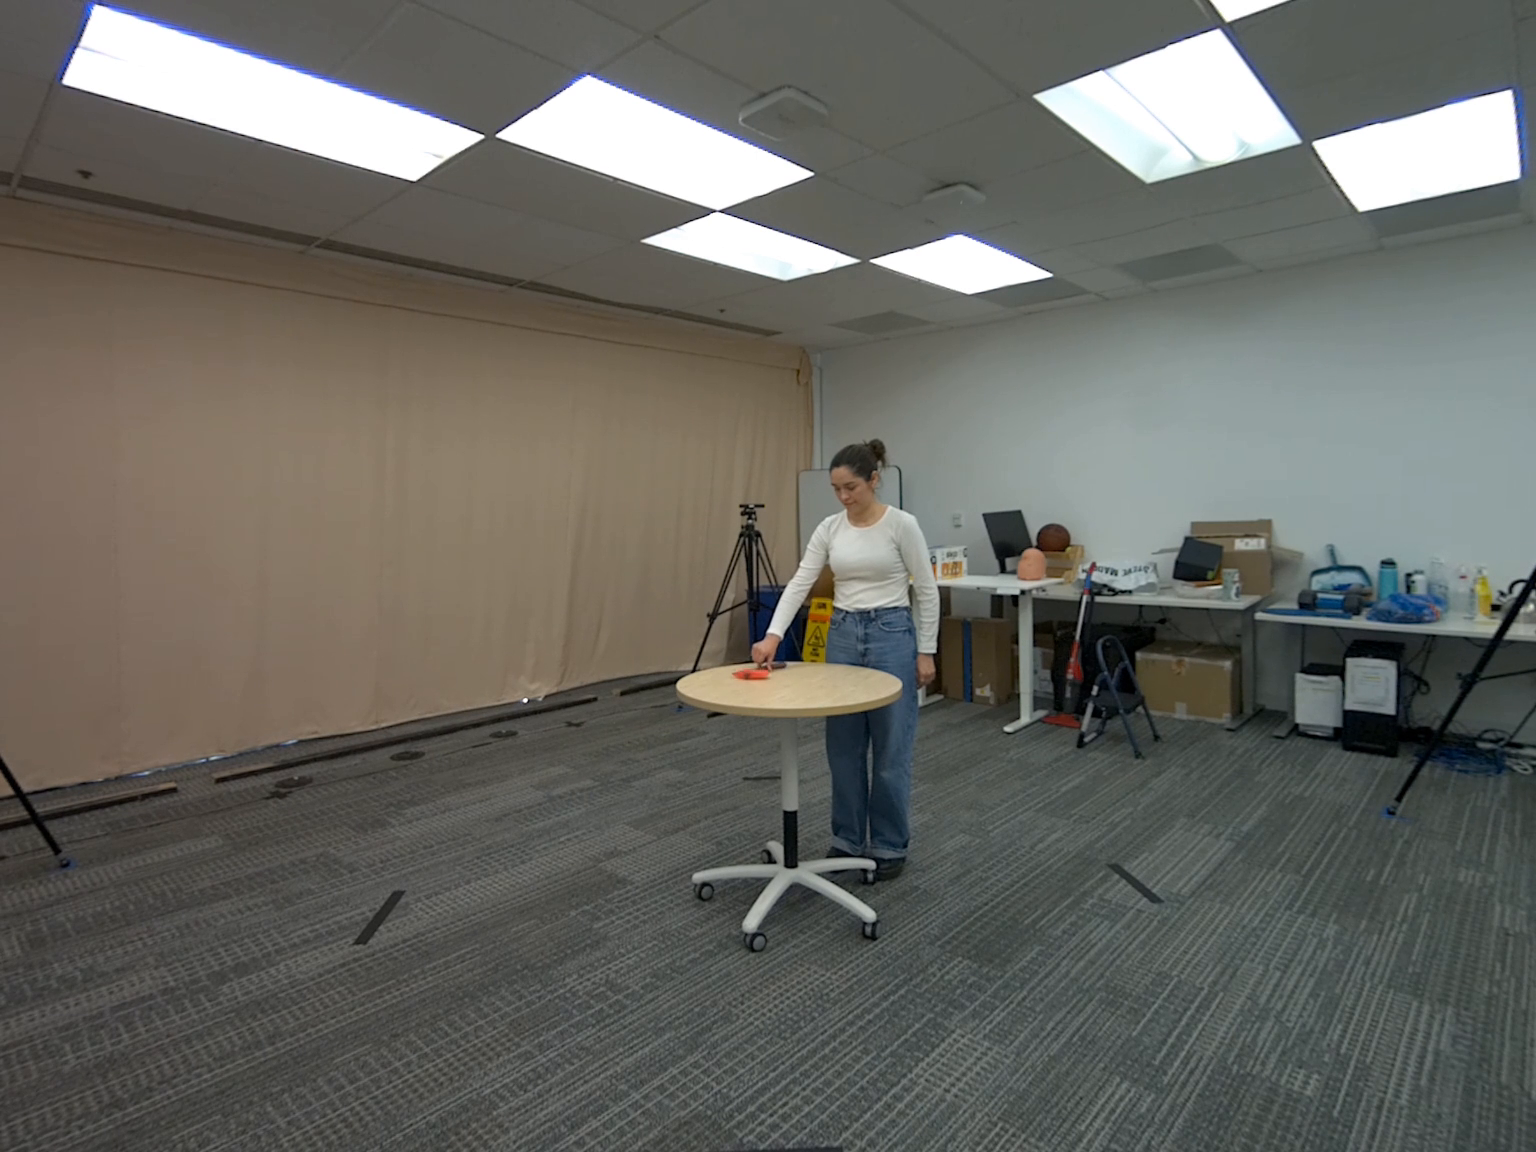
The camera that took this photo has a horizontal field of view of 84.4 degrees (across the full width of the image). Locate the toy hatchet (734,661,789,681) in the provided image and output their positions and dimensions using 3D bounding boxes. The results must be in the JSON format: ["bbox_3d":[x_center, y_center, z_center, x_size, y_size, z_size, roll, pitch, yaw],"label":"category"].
[{"bbox_3d":[0.010,0.342,3.032,0.135,0.029,0.262,-2,1,41],"label":"toy hatchet"}]
